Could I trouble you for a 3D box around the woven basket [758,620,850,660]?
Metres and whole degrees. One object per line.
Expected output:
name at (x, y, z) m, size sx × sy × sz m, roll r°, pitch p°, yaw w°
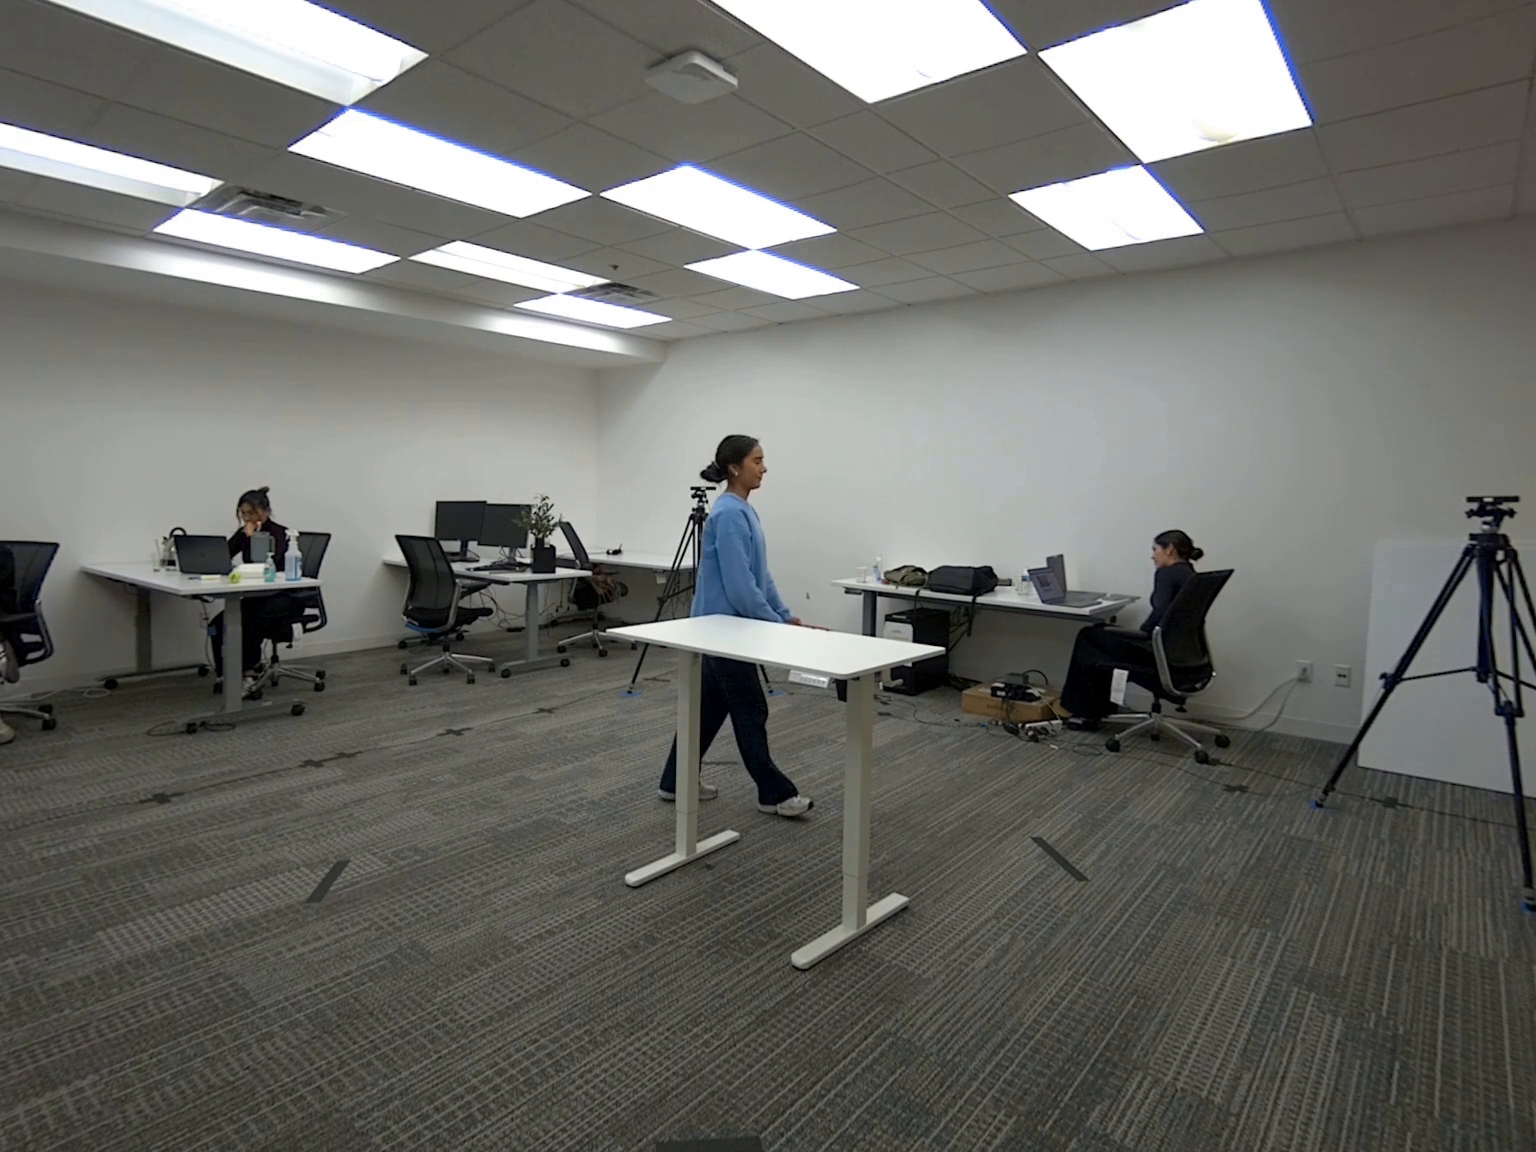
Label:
woven basket at (0.149, 0.266, 3.645) m, size 0.348 × 0.073 × 0.256 m, roll 7°, pitch 10°, yaw -6°
